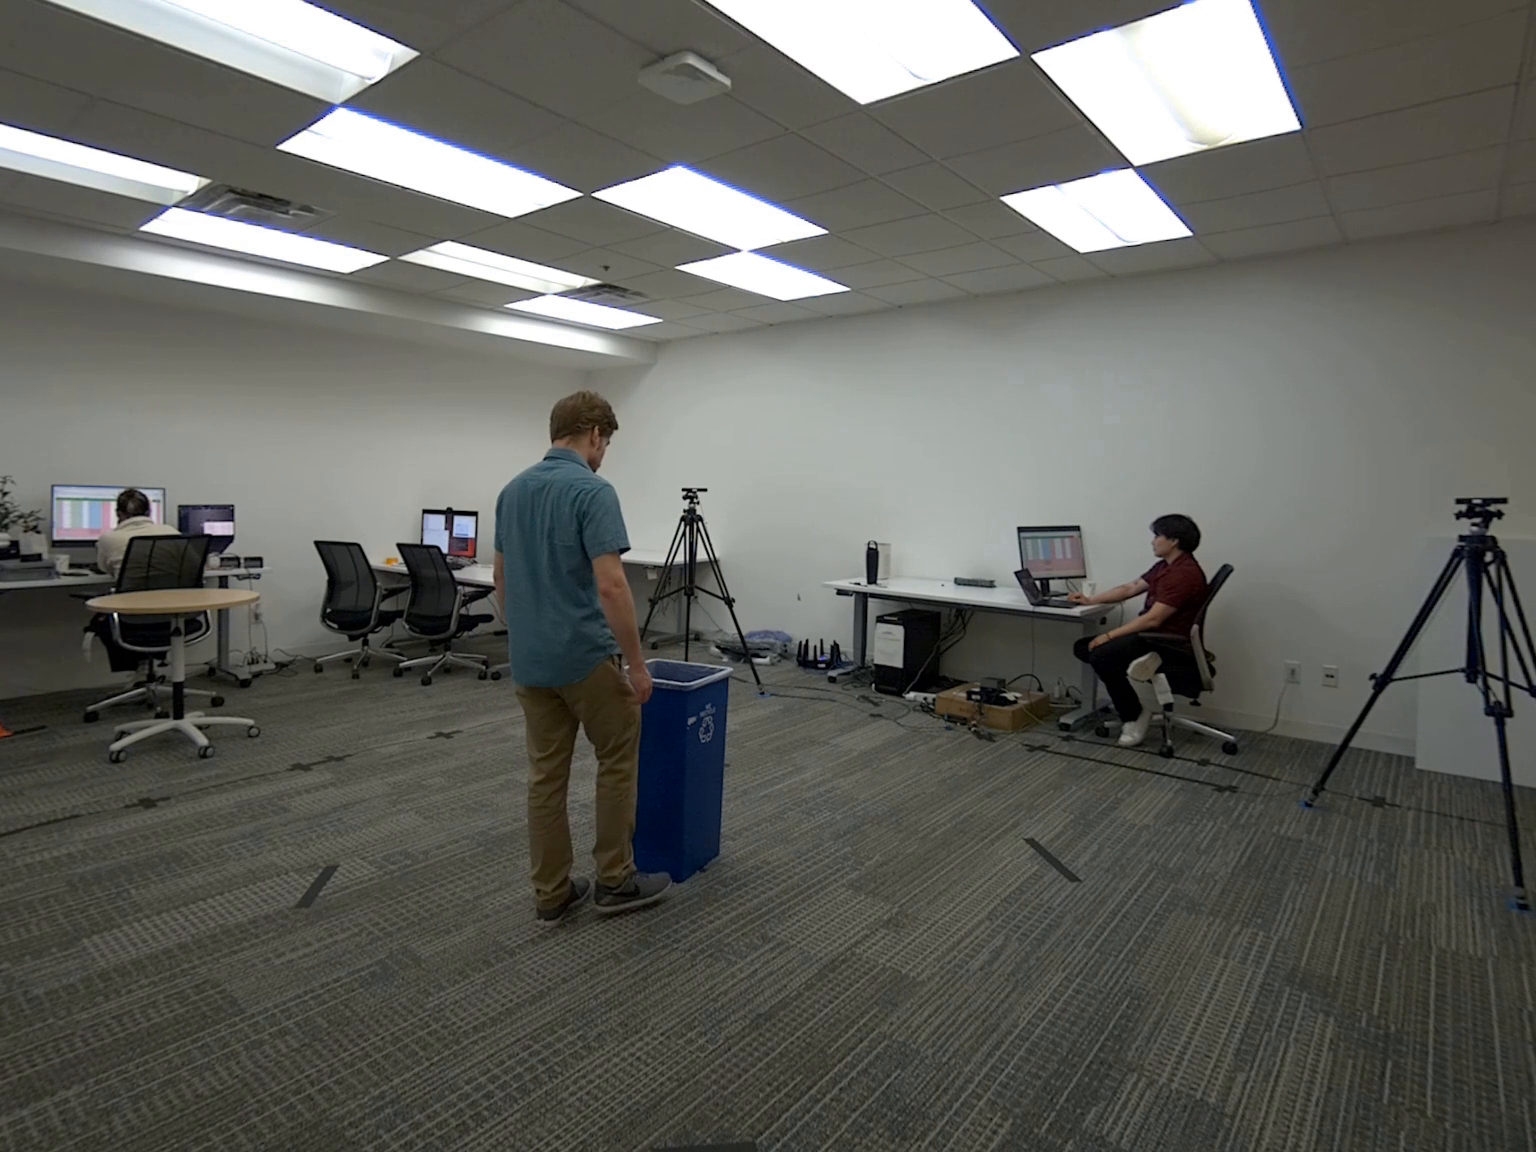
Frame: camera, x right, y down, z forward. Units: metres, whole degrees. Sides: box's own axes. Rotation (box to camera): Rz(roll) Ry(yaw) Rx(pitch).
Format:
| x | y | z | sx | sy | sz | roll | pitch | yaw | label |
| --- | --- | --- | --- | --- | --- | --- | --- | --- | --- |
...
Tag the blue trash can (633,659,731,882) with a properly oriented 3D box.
| x | y | z | sx | sy | sz | roll | pitch | yaw | label |
| --- | --- | --- | --- | --- | --- | --- | --- | --- | --- |
| -0.380 | 0.703 | 3.183 | 0.388 | 0.711 | 0.365 | 3 | 4 | 26 | blue trash can |
